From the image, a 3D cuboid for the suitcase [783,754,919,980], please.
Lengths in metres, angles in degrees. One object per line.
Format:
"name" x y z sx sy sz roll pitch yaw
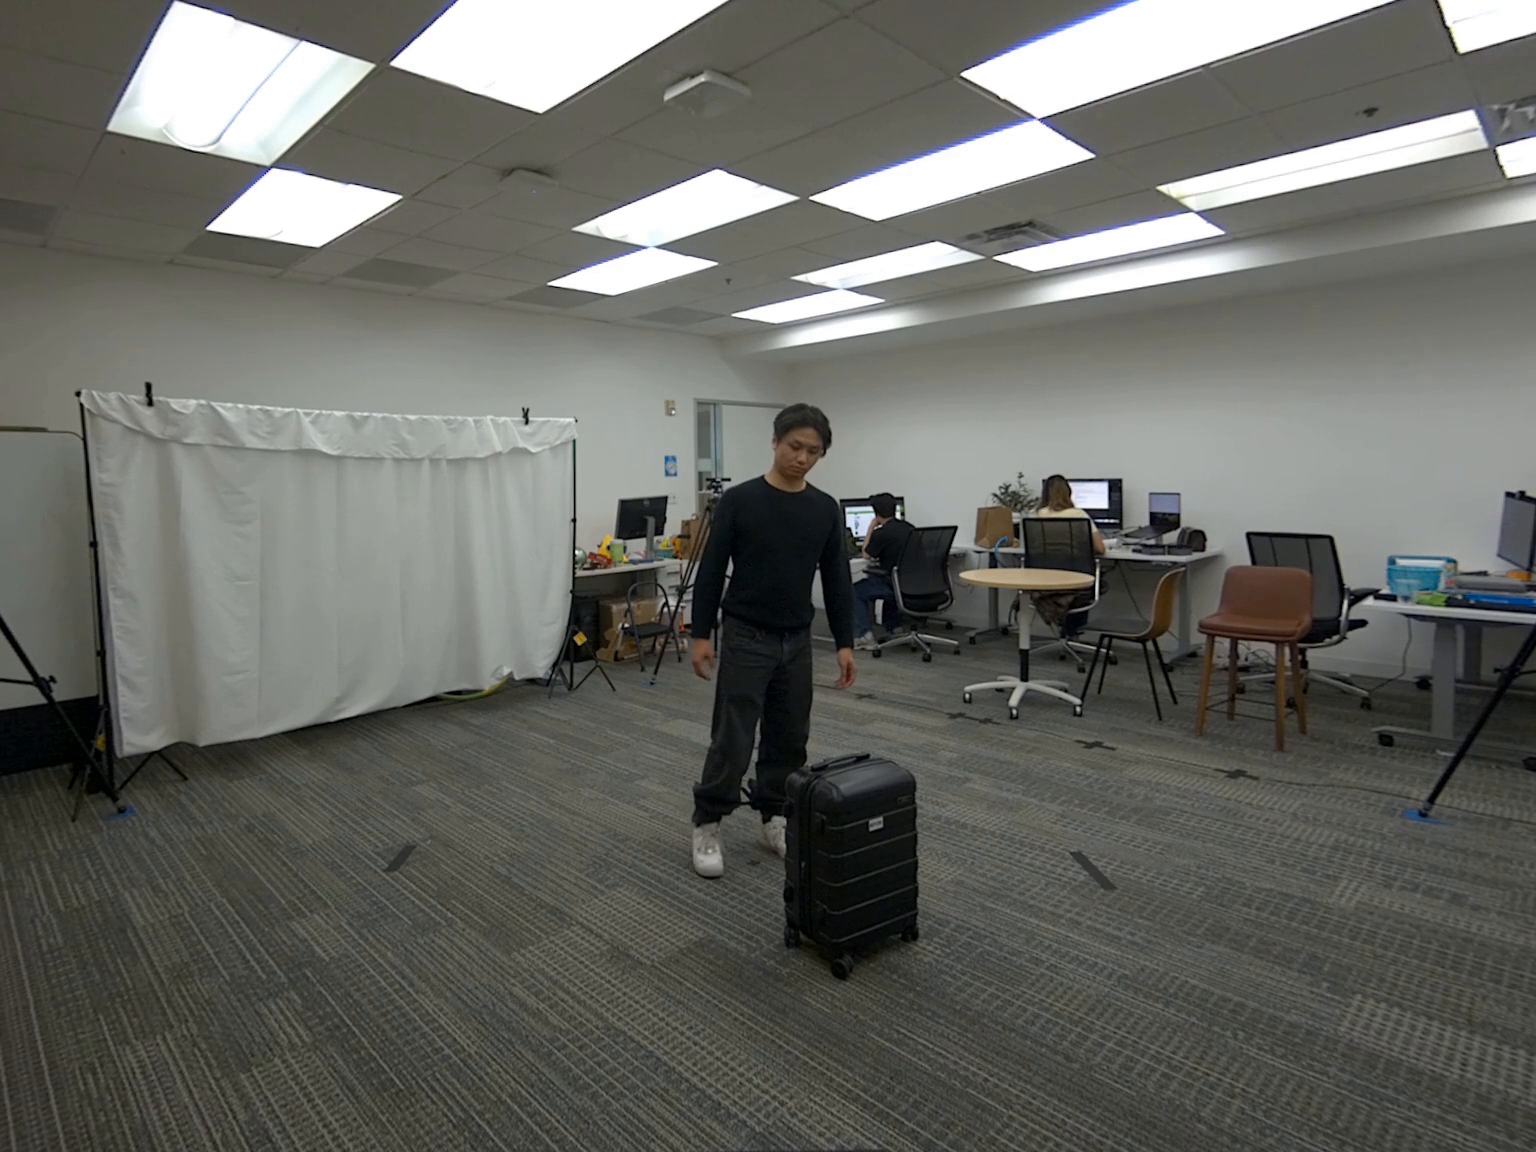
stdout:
"suitcase" 0.255 0.827 2.551 0.366 0.547 0.256 -4 6 -34
